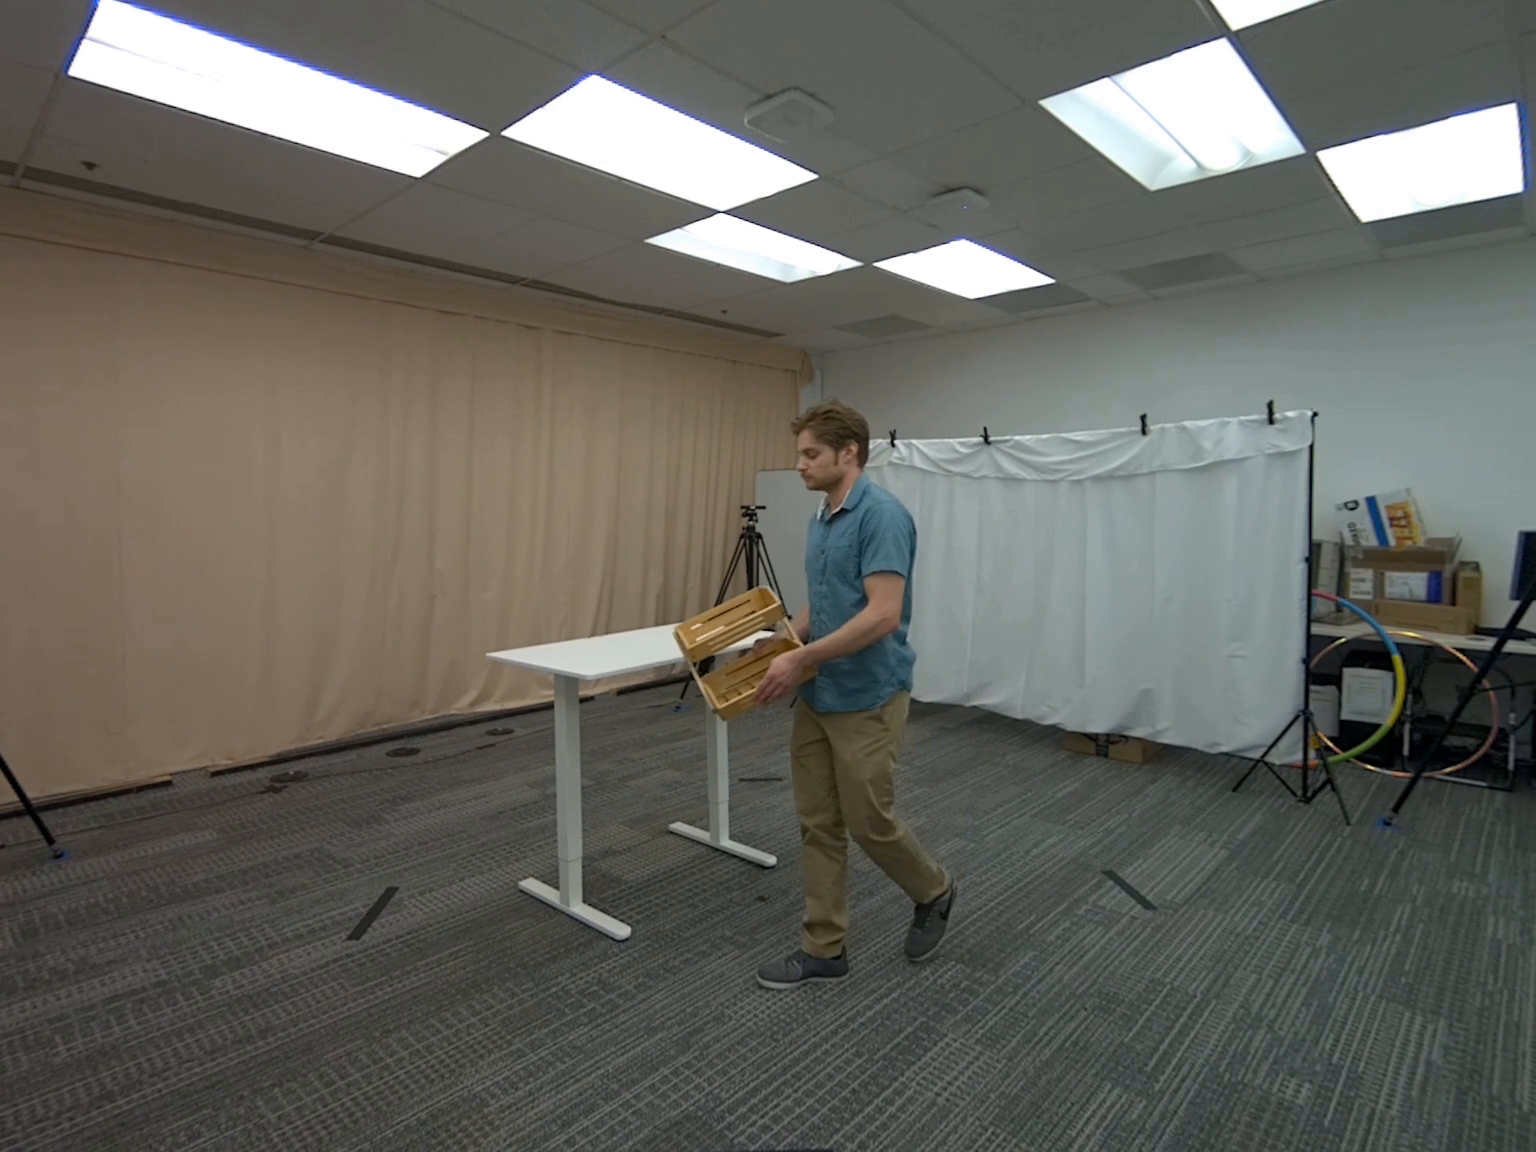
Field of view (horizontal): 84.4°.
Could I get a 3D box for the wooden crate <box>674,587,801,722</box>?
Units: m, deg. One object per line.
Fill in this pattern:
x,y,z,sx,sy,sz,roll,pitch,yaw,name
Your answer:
-0.067,0.214,2.454,0.322,0.272,0.305,-25,6,-9,wooden crate
